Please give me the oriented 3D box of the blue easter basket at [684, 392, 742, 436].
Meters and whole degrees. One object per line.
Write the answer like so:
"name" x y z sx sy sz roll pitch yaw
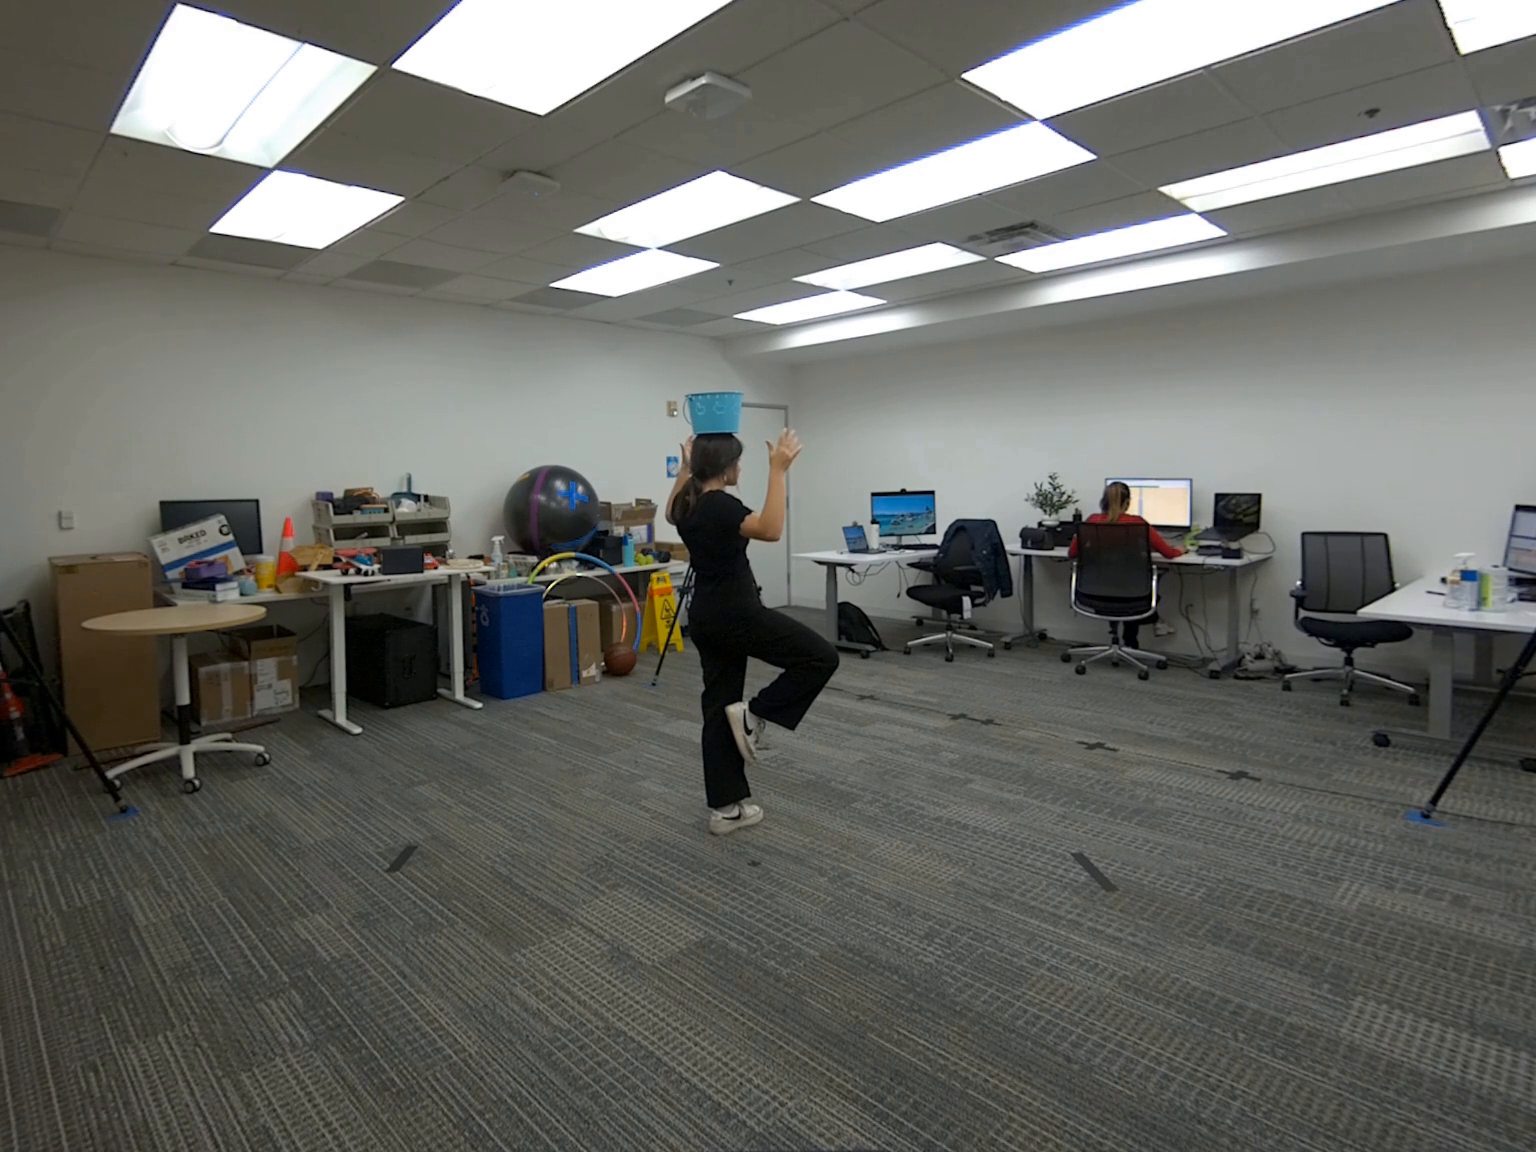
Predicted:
"blue easter basket" -0.212 -0.636 3.349 0.243 0.155 0.245 -3 6 -1
